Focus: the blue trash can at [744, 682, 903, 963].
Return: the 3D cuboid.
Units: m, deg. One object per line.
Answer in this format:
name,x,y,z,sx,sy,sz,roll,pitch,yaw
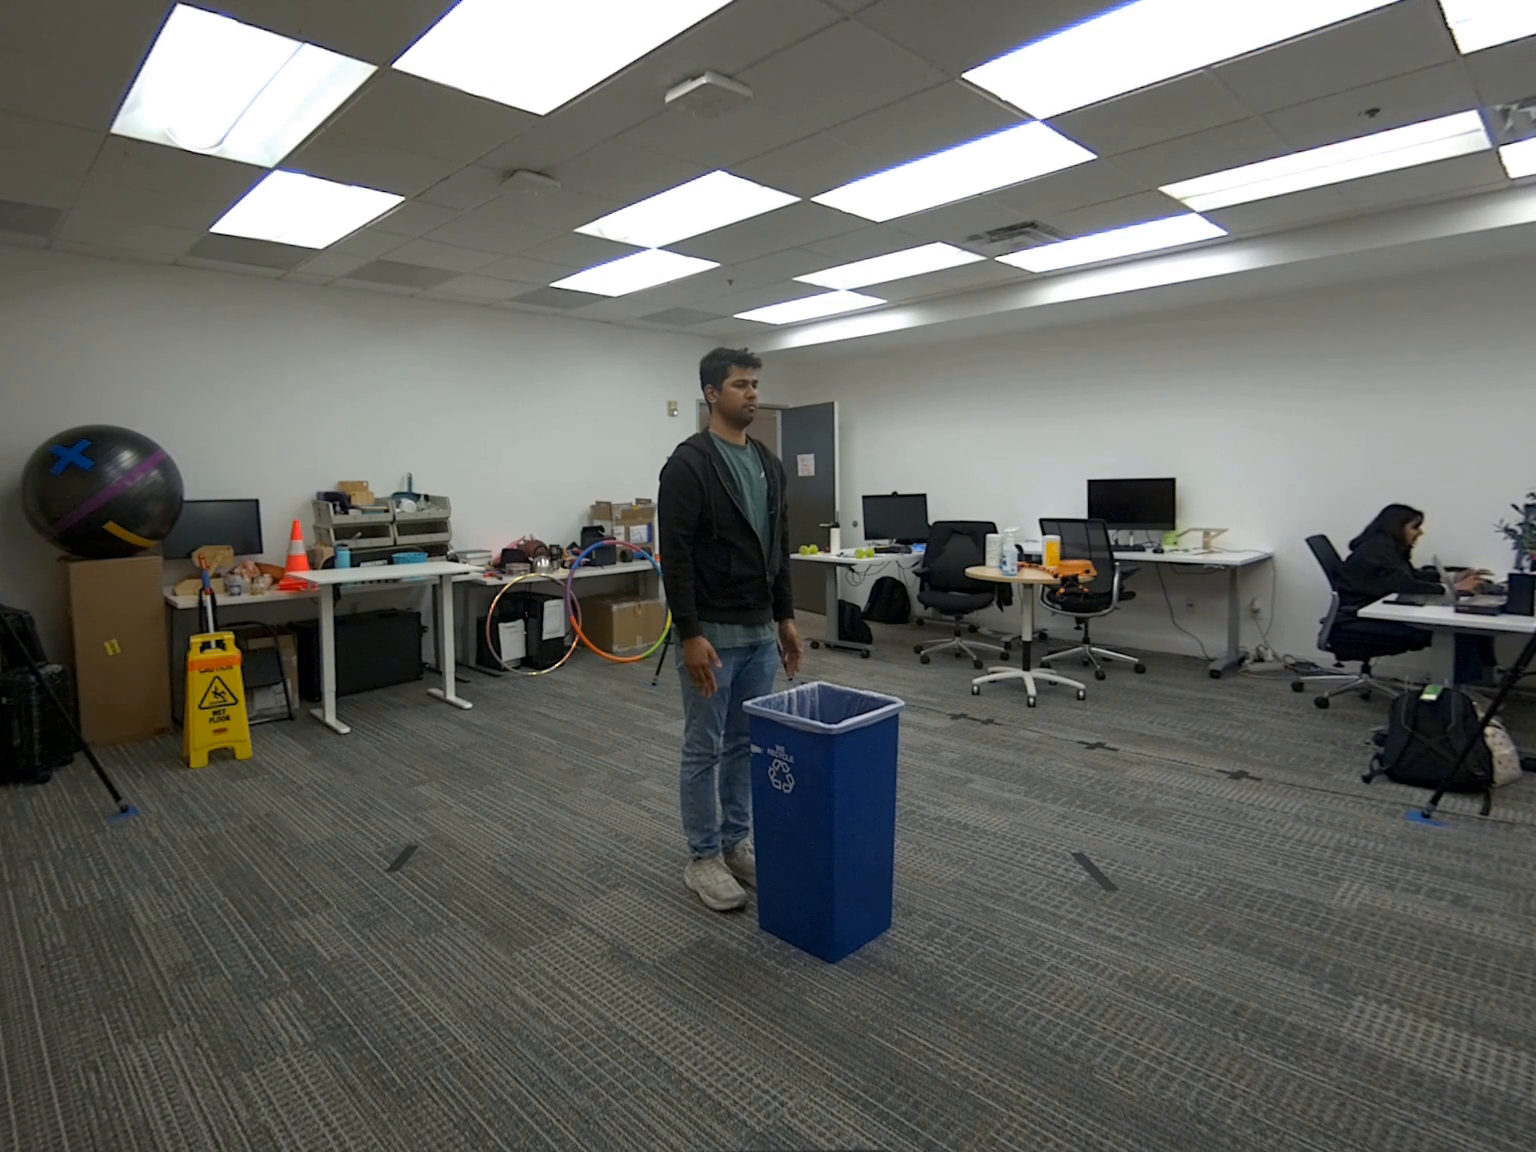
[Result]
blue trash can,0.181,0.737,2.628,0.385,0.711,0.368,3,6,44
